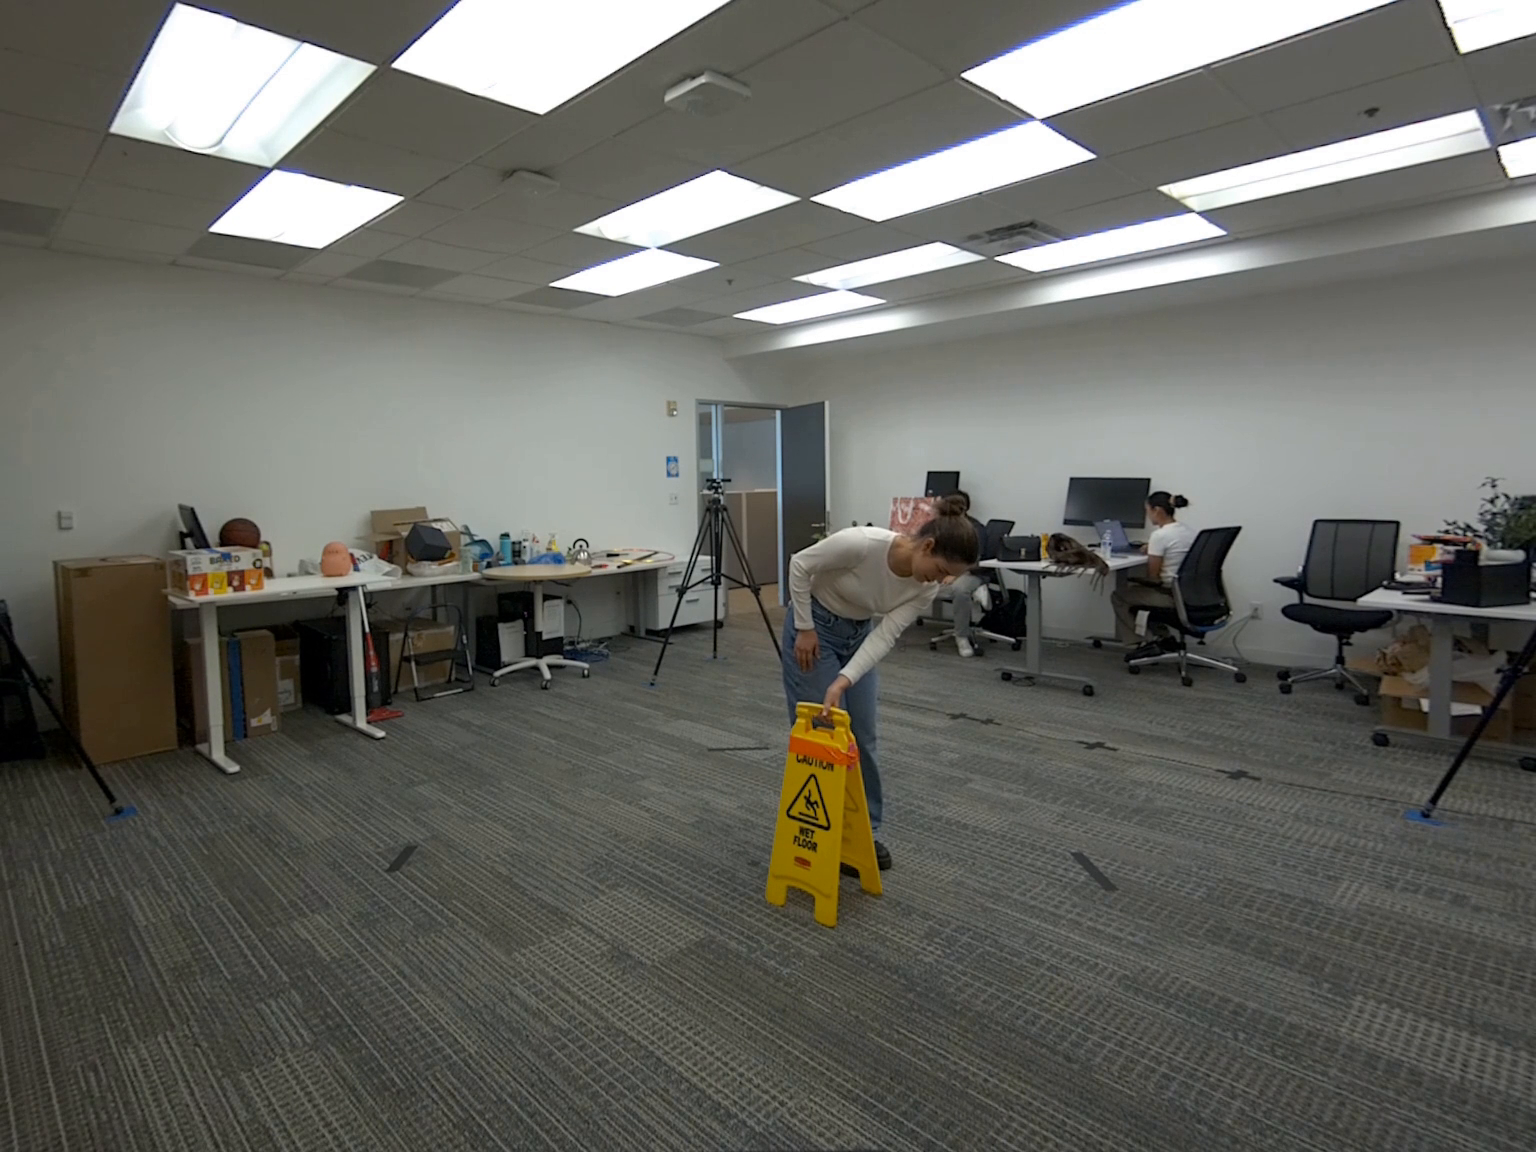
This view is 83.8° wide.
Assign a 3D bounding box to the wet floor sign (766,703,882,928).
[{"bbox_3d":[0.182,0.751,2.824,0.291,0.644,0.282,2,5,41],"label":"wet floor sign"}]
